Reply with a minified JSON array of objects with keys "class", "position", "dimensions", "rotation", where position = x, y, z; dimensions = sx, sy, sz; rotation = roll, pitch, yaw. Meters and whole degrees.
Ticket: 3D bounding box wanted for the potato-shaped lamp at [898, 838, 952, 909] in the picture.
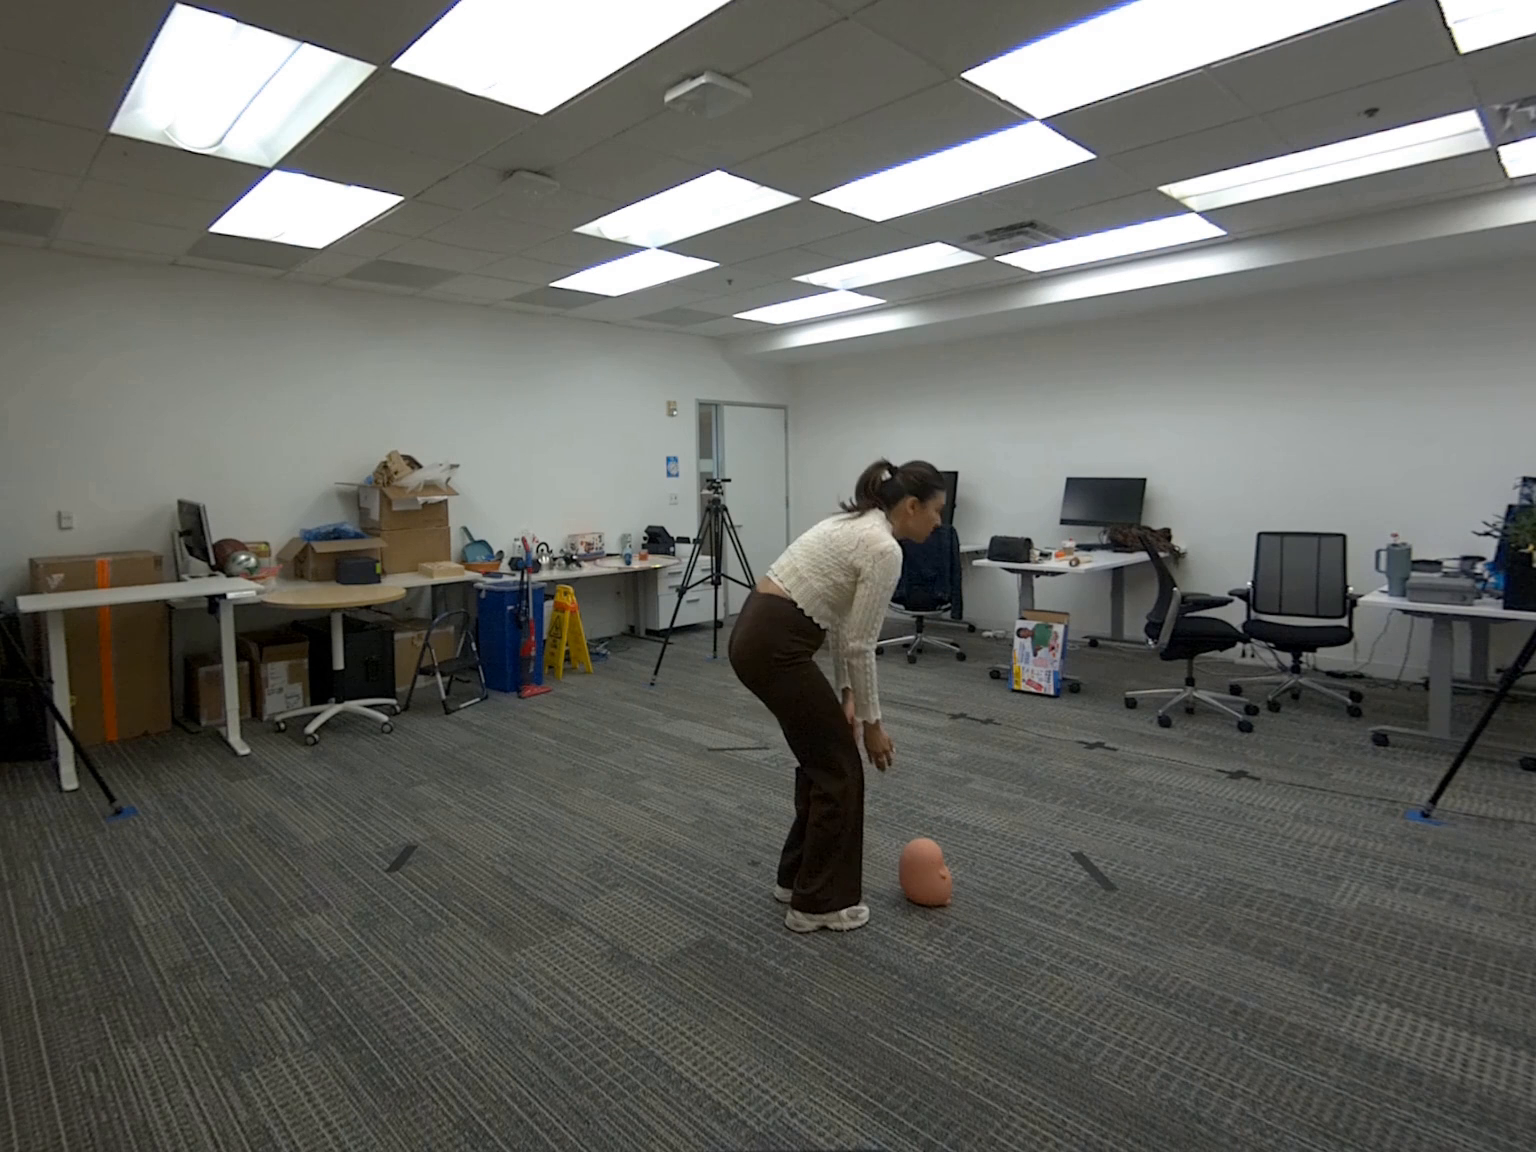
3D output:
[{"class":"potato-shaped lamp","position":[0.515,0.960,2.813],"dimensions":[0.173,0.197,0.164],"rotation":[-1,6,7]}]
